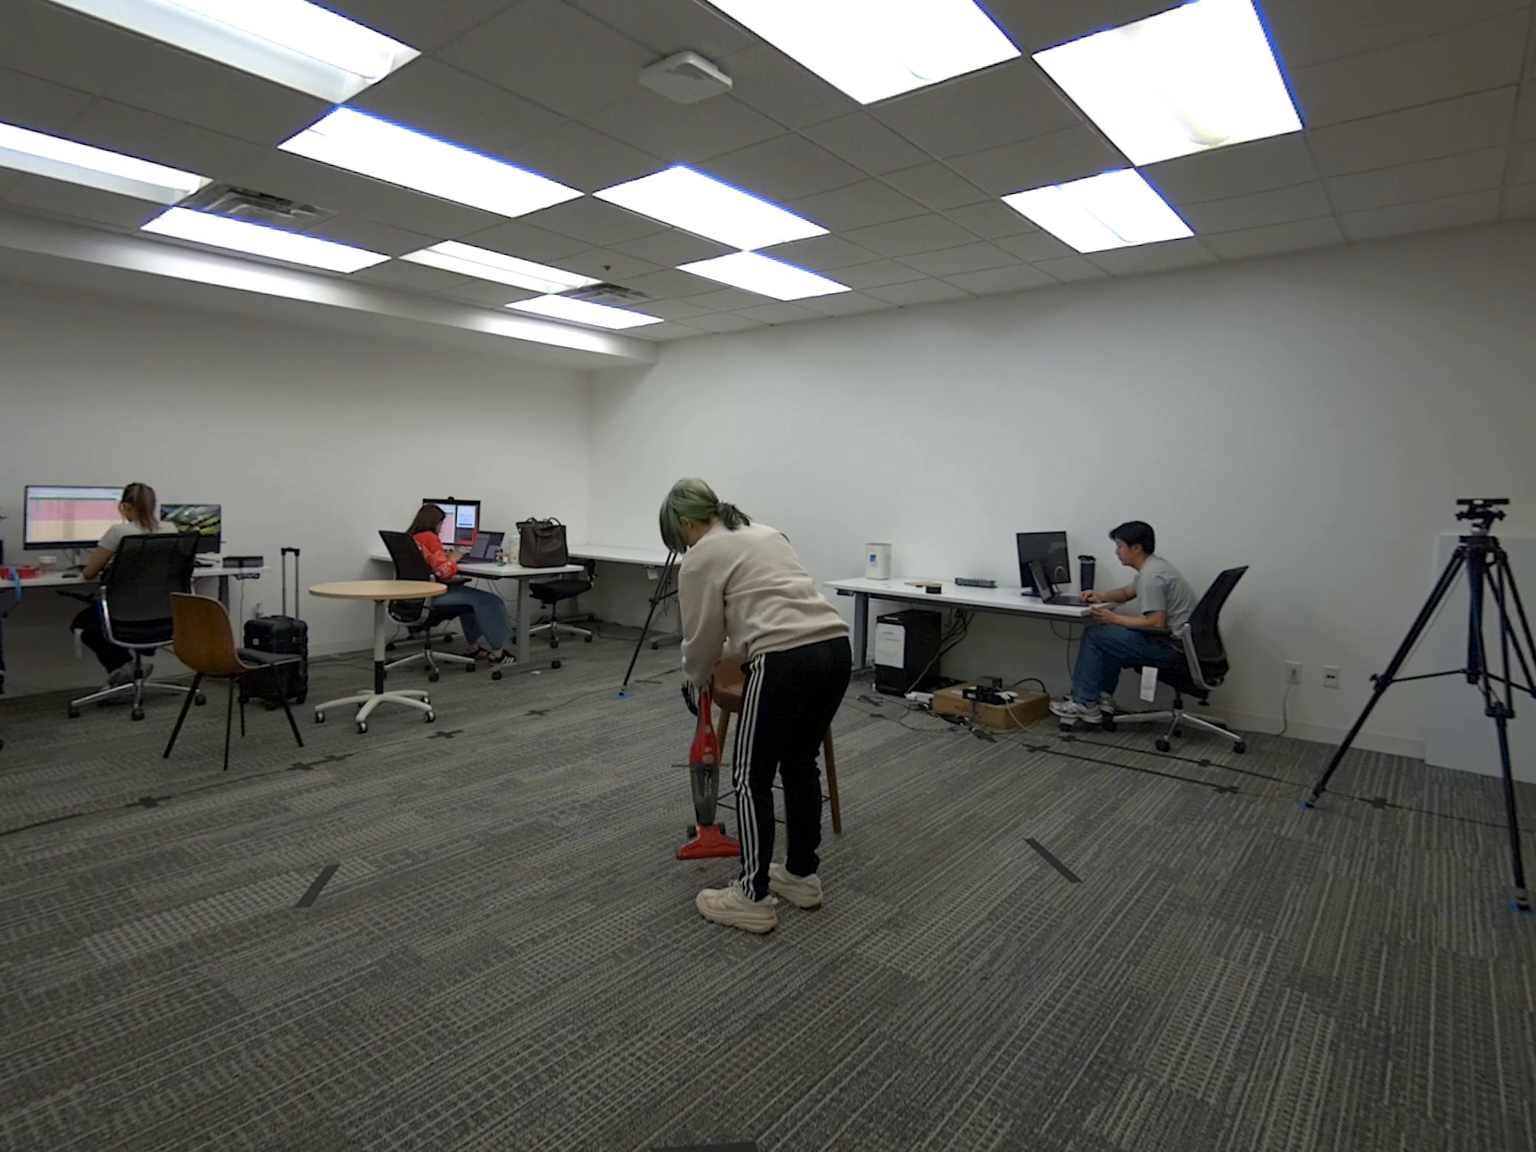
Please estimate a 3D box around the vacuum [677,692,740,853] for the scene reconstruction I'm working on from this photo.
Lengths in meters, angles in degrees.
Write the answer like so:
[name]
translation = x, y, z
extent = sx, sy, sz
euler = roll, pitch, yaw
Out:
[vacuum]
translation = -0.255, 0.430, 3.144
extent = 0.246, 1.067, 0.145
euler = 3, -18, -27
